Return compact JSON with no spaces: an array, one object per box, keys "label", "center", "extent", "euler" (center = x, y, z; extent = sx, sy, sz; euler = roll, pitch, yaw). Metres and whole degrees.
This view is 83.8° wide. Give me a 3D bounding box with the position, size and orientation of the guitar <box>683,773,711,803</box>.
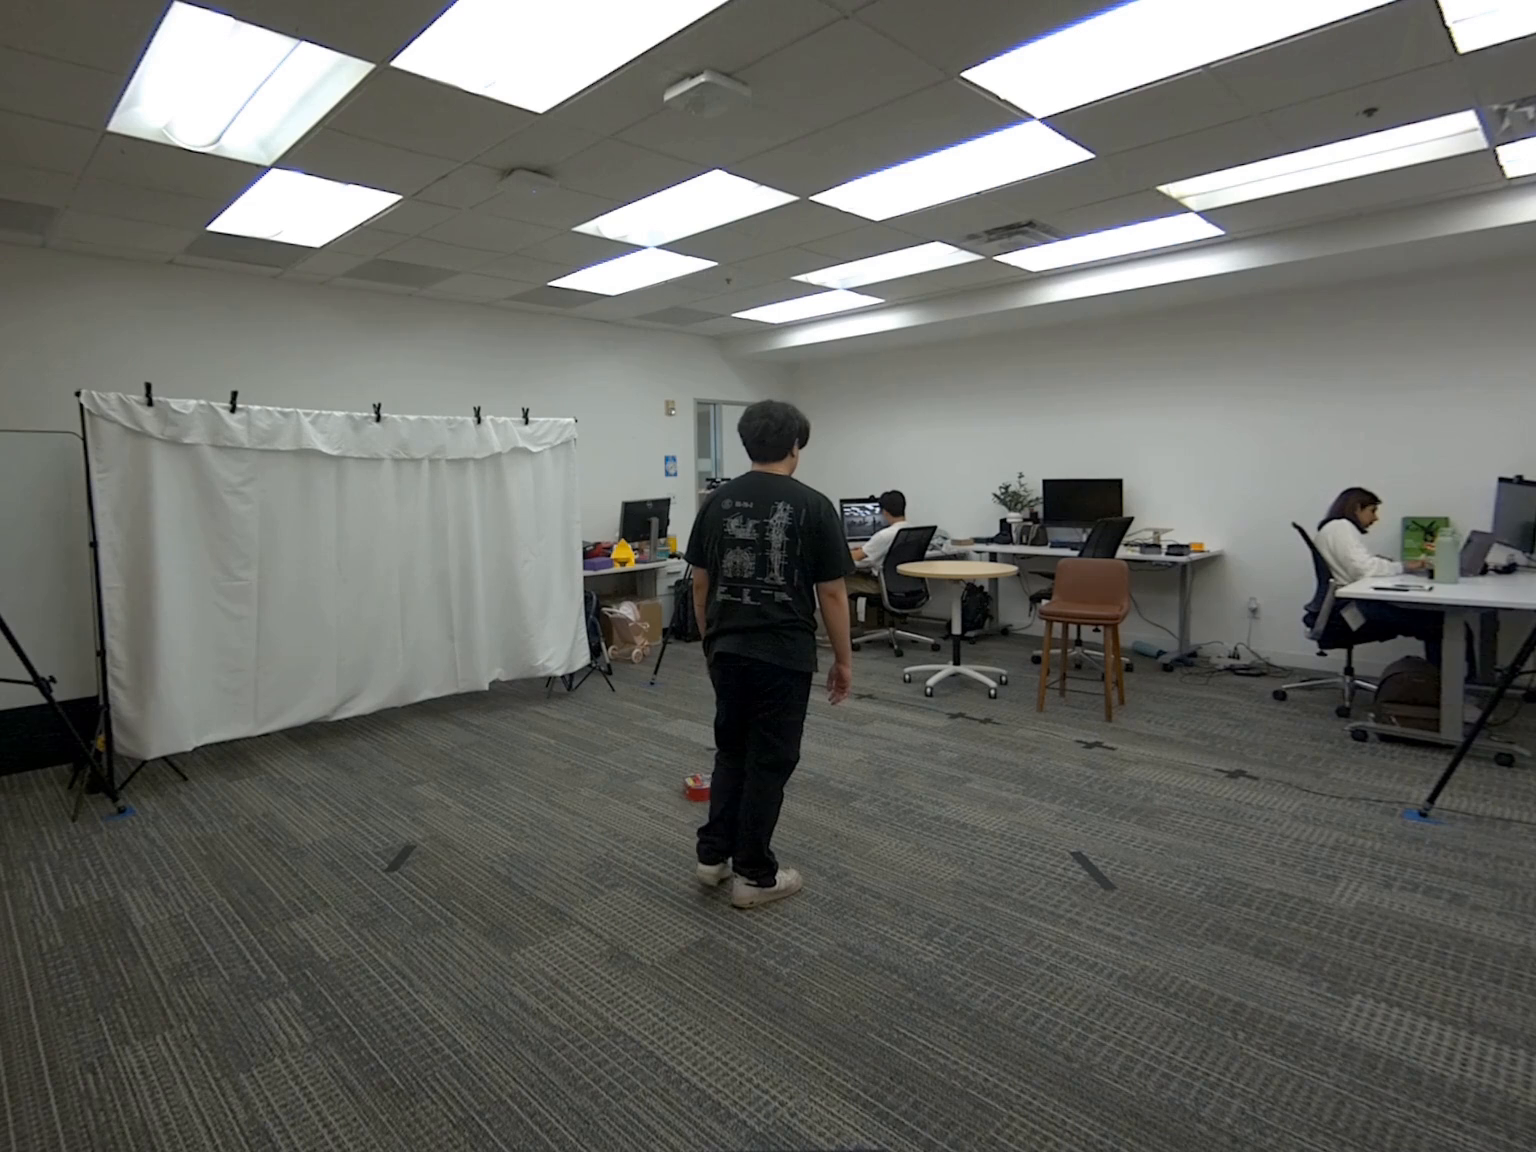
[{"label":"guitar","center":[-0.127,0.927,3.823],"extent":[0.495,0.070,0.195],"euler":[-3,5,-7]}]
